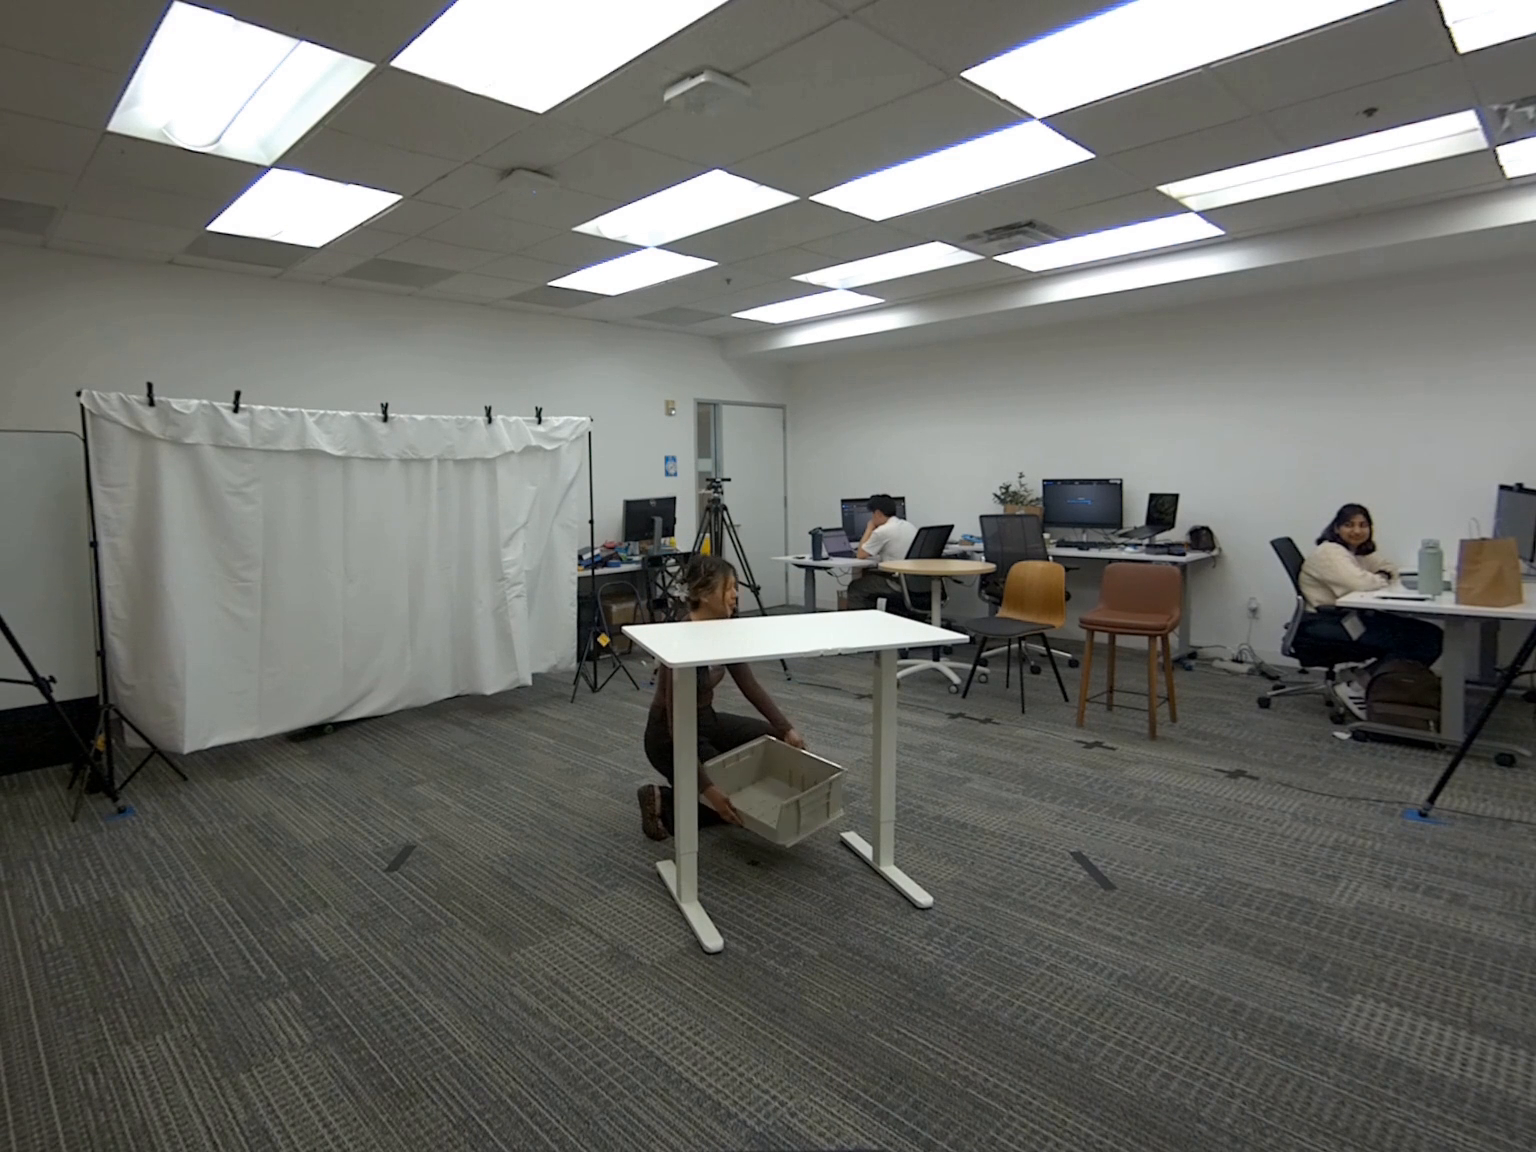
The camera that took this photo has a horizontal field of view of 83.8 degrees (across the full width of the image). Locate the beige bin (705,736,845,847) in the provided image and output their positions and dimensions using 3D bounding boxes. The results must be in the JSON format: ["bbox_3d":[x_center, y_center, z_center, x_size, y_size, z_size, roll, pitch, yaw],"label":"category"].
[{"bbox_3d":[0.012,0.799,3.187,0.437,0.187,0.369,12,18,43],"label":"beige bin"}]
